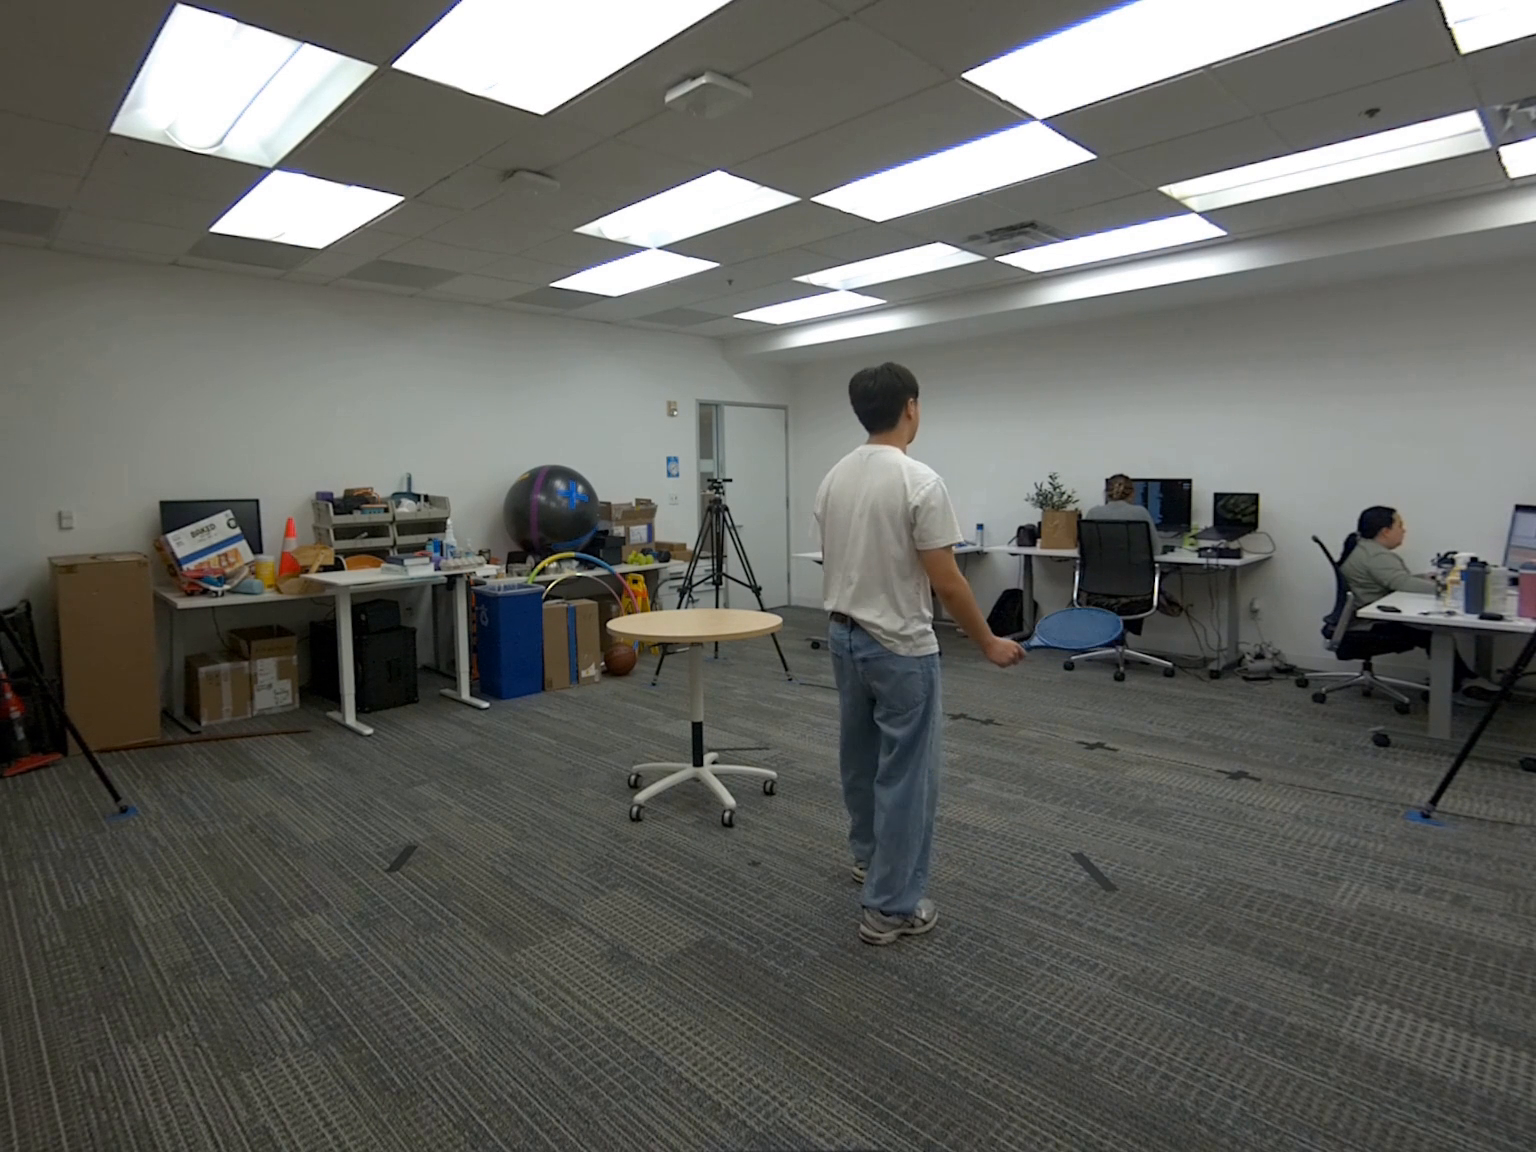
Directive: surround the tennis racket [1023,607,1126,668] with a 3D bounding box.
[{"bbox_3d":[0.865,0.192,2.625,0.430,0.031,0.220,-12,26,-9],"label":"tennis racket"}]
